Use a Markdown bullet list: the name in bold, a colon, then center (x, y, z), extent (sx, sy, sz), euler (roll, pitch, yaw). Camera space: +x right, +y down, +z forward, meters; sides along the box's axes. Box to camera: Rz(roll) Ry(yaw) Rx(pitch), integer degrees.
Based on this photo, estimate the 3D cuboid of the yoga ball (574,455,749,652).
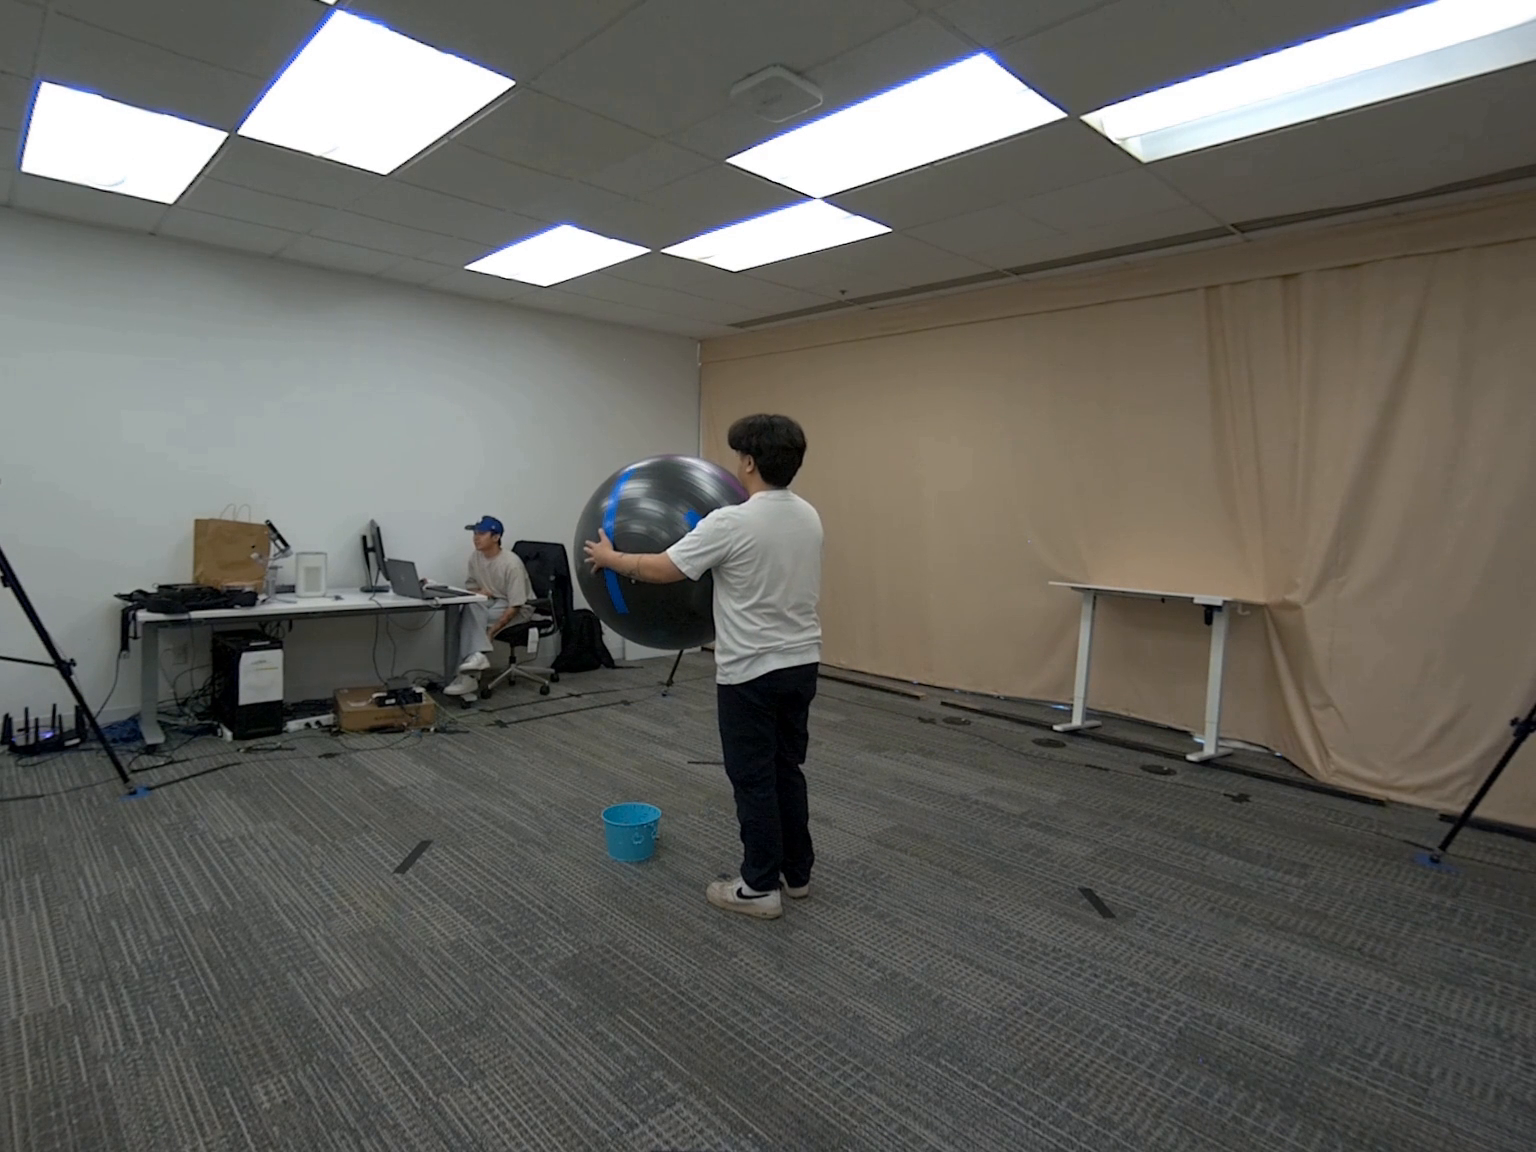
- **yoga ball**: center (-0.378, -0.088, 3.280), extent (0.757, 0.756, 0.760), euler (1, 4, -1)
